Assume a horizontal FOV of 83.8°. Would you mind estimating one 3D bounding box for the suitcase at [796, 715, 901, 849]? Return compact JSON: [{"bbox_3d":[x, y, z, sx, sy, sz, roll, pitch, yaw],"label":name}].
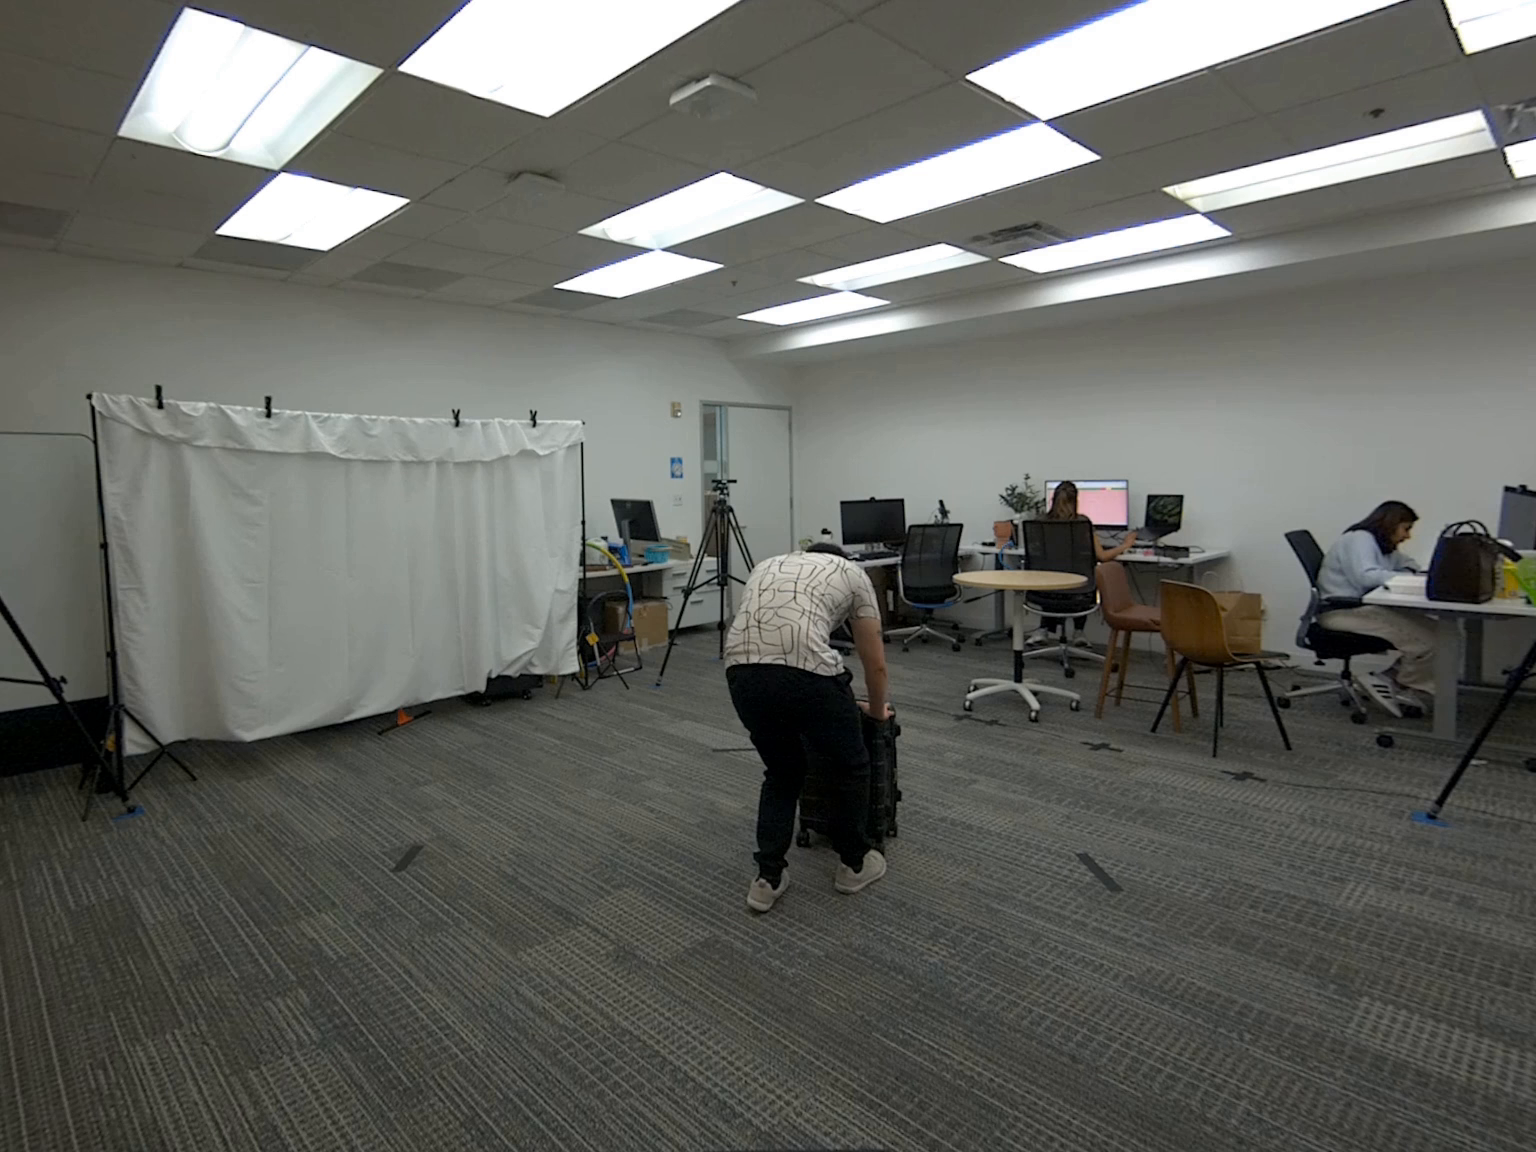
[{"bbox_3d":[0.312,0.744,3.310,0.384,0.548,0.243,1,2,24],"label":"suitcase"}]
